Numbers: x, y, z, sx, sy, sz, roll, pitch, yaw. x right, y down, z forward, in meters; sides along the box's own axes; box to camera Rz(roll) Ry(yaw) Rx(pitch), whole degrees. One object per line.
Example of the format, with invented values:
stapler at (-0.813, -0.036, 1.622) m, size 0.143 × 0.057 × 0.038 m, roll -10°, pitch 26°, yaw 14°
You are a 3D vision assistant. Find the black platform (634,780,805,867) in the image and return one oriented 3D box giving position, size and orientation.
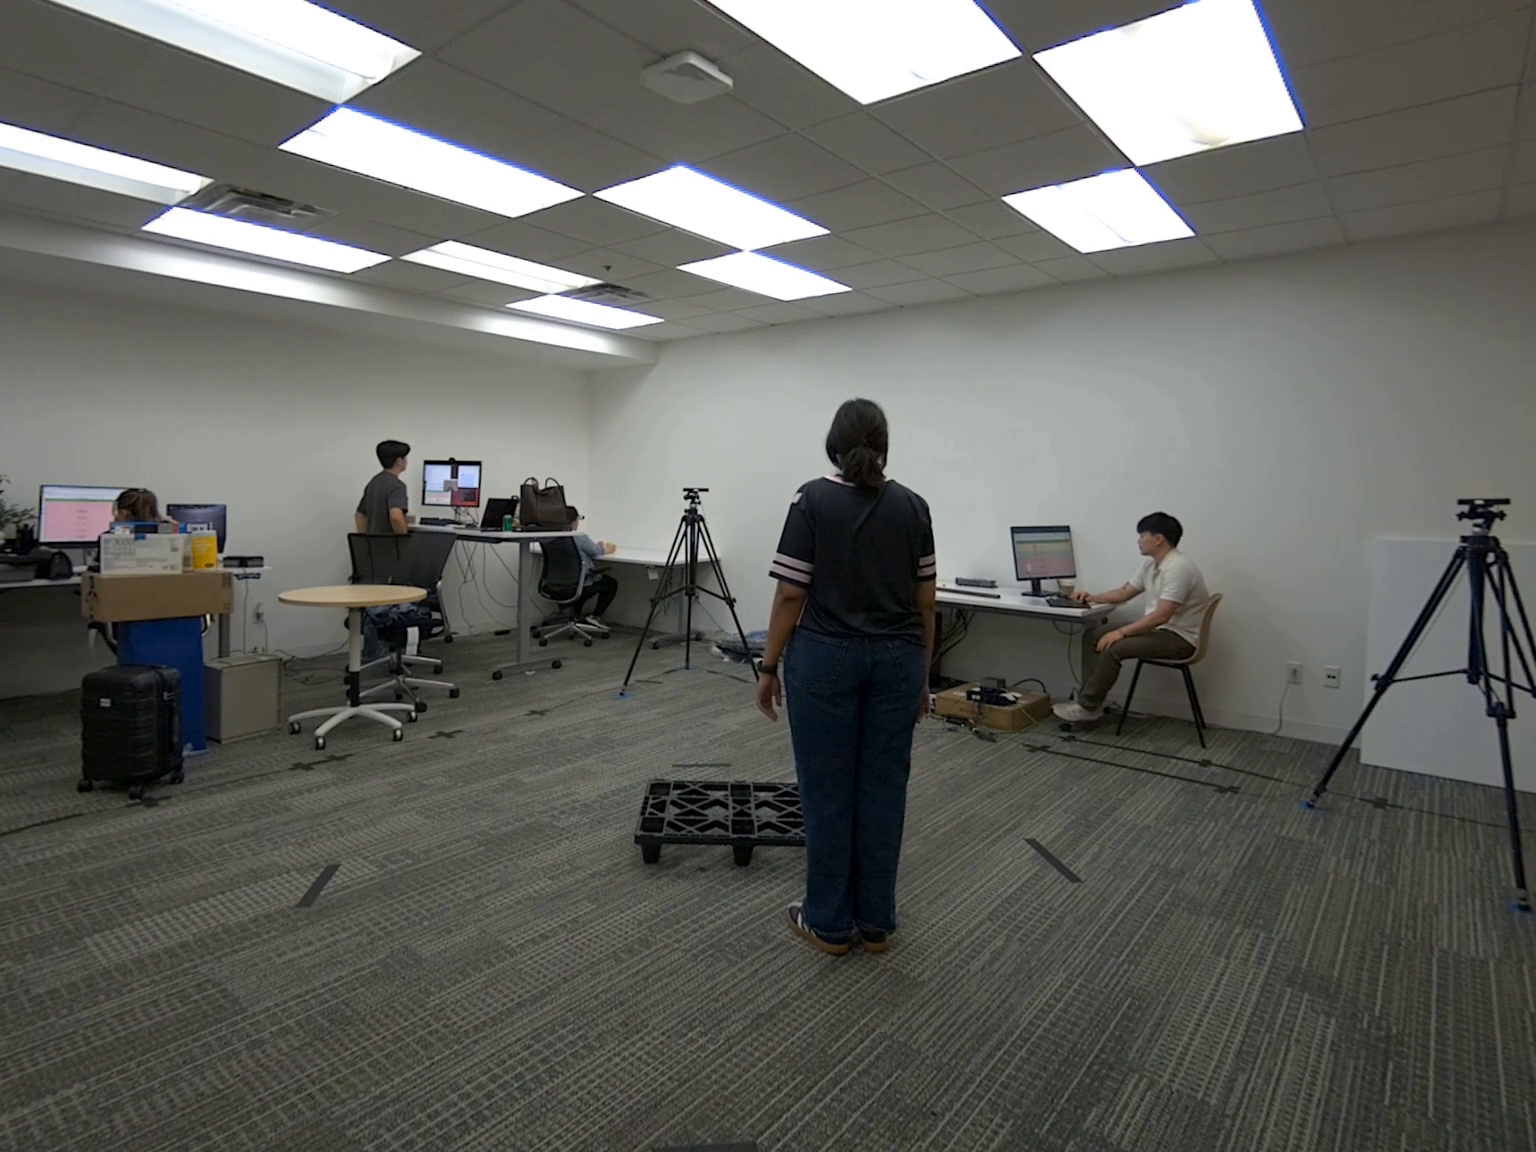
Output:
black platform at (-0.115, 0.977, 3.372) m, size 0.805 × 0.143 × 0.608 m, roll 1°, pitch 6°, yaw -1°
